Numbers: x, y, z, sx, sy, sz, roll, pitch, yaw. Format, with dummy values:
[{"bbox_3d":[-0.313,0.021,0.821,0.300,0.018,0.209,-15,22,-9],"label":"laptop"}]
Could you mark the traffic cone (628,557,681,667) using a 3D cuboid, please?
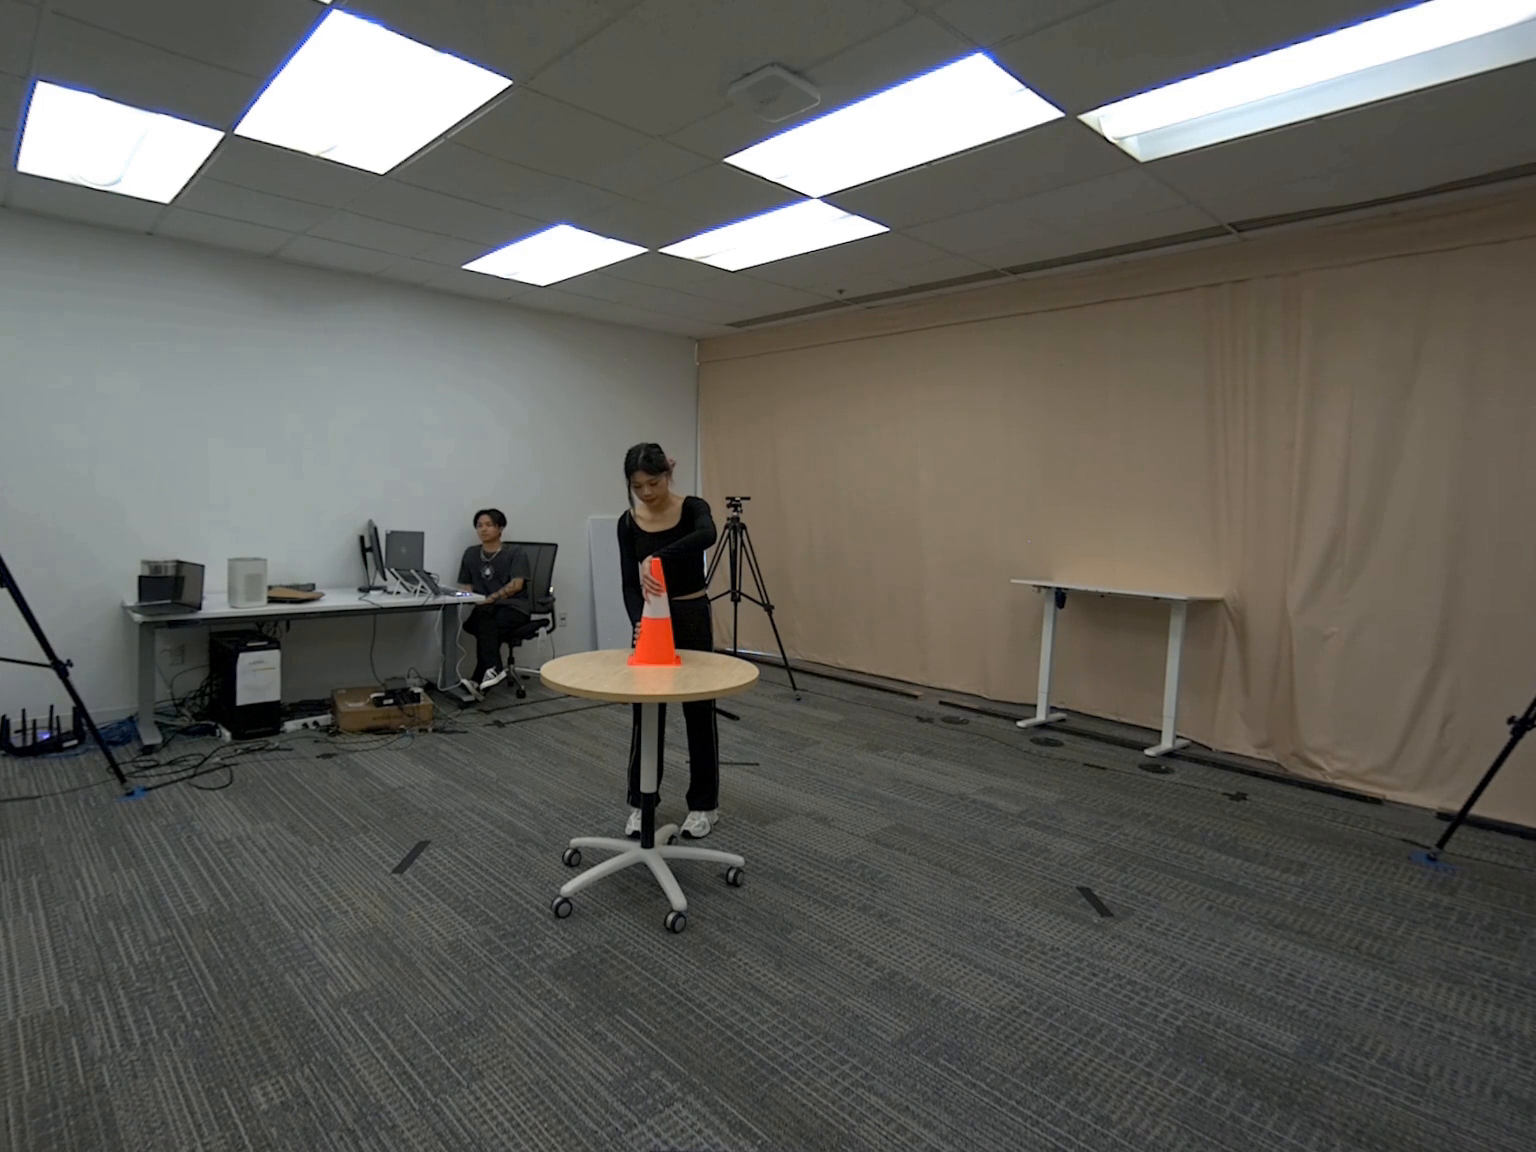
[{"bbox_3d":[-0.427,0.126,3.110,0.203,0.383,0.205,2,2,-9],"label":"traffic cone"}]
